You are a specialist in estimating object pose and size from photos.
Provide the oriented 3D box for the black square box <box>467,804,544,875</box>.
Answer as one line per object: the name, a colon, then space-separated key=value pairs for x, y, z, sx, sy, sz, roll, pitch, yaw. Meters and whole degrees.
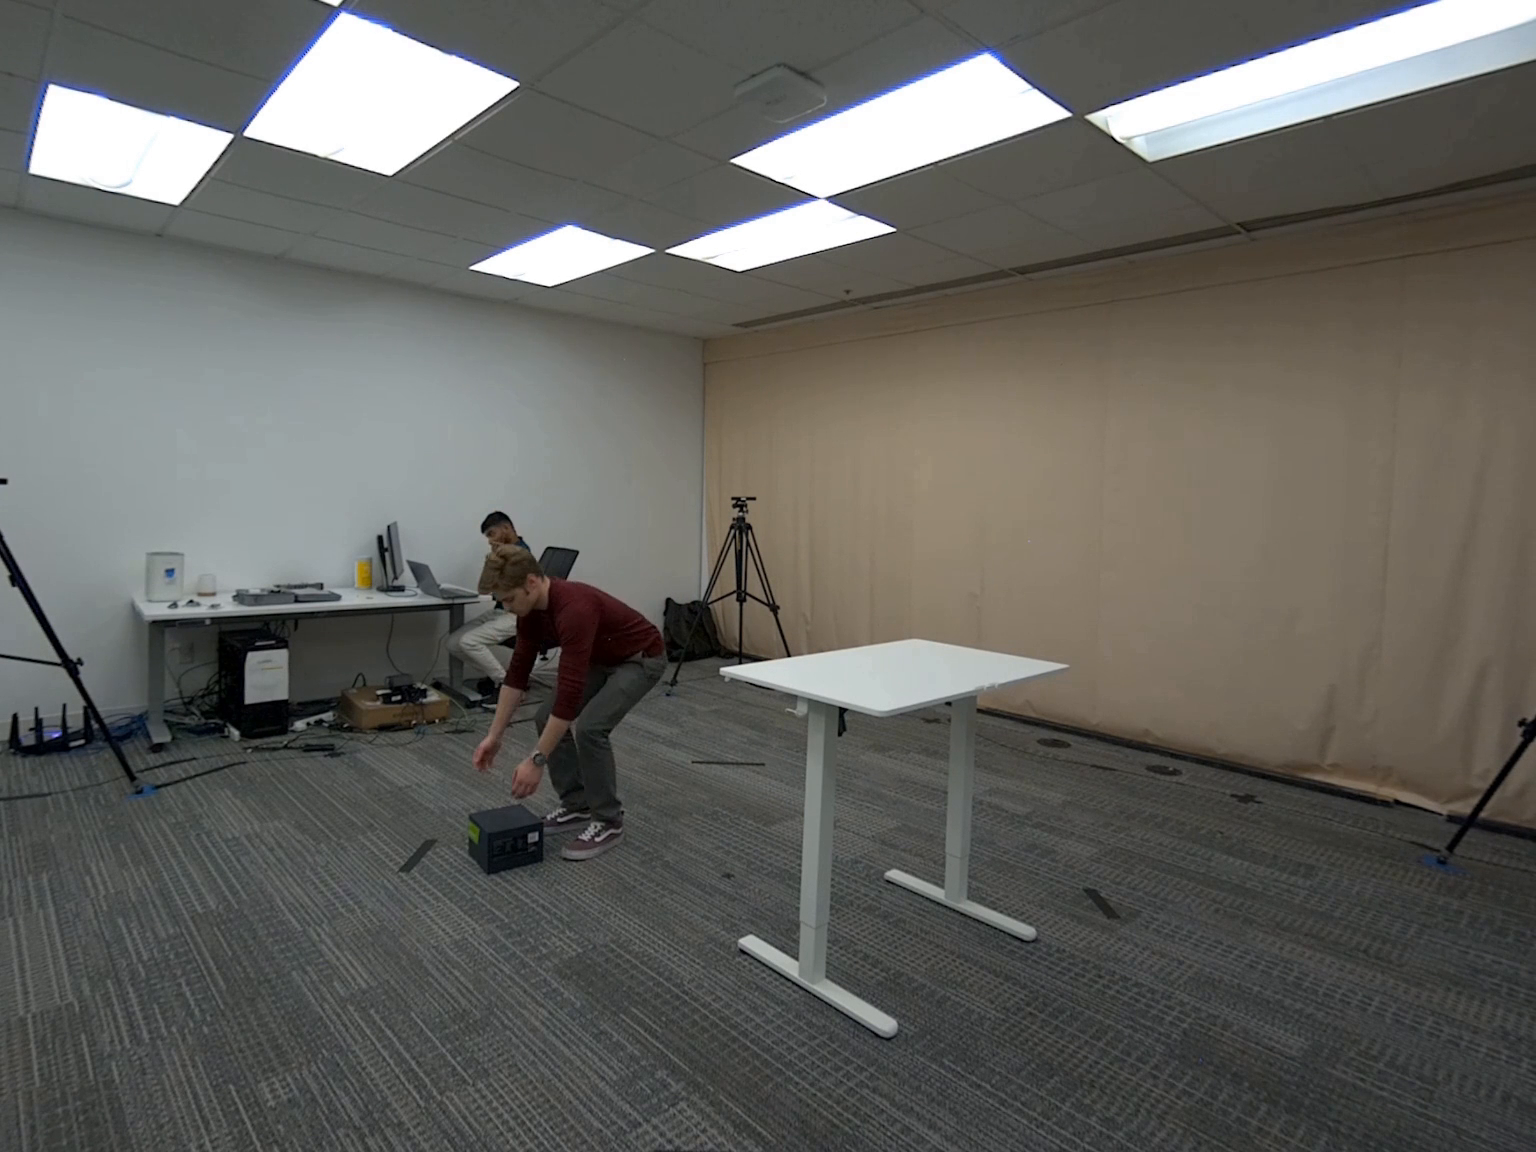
black square box: x=-1.007 y=0.993 z=3.212 sx=0.212 sy=0.155 sz=0.233 roll=-3 pitch=6 yaw=-37
